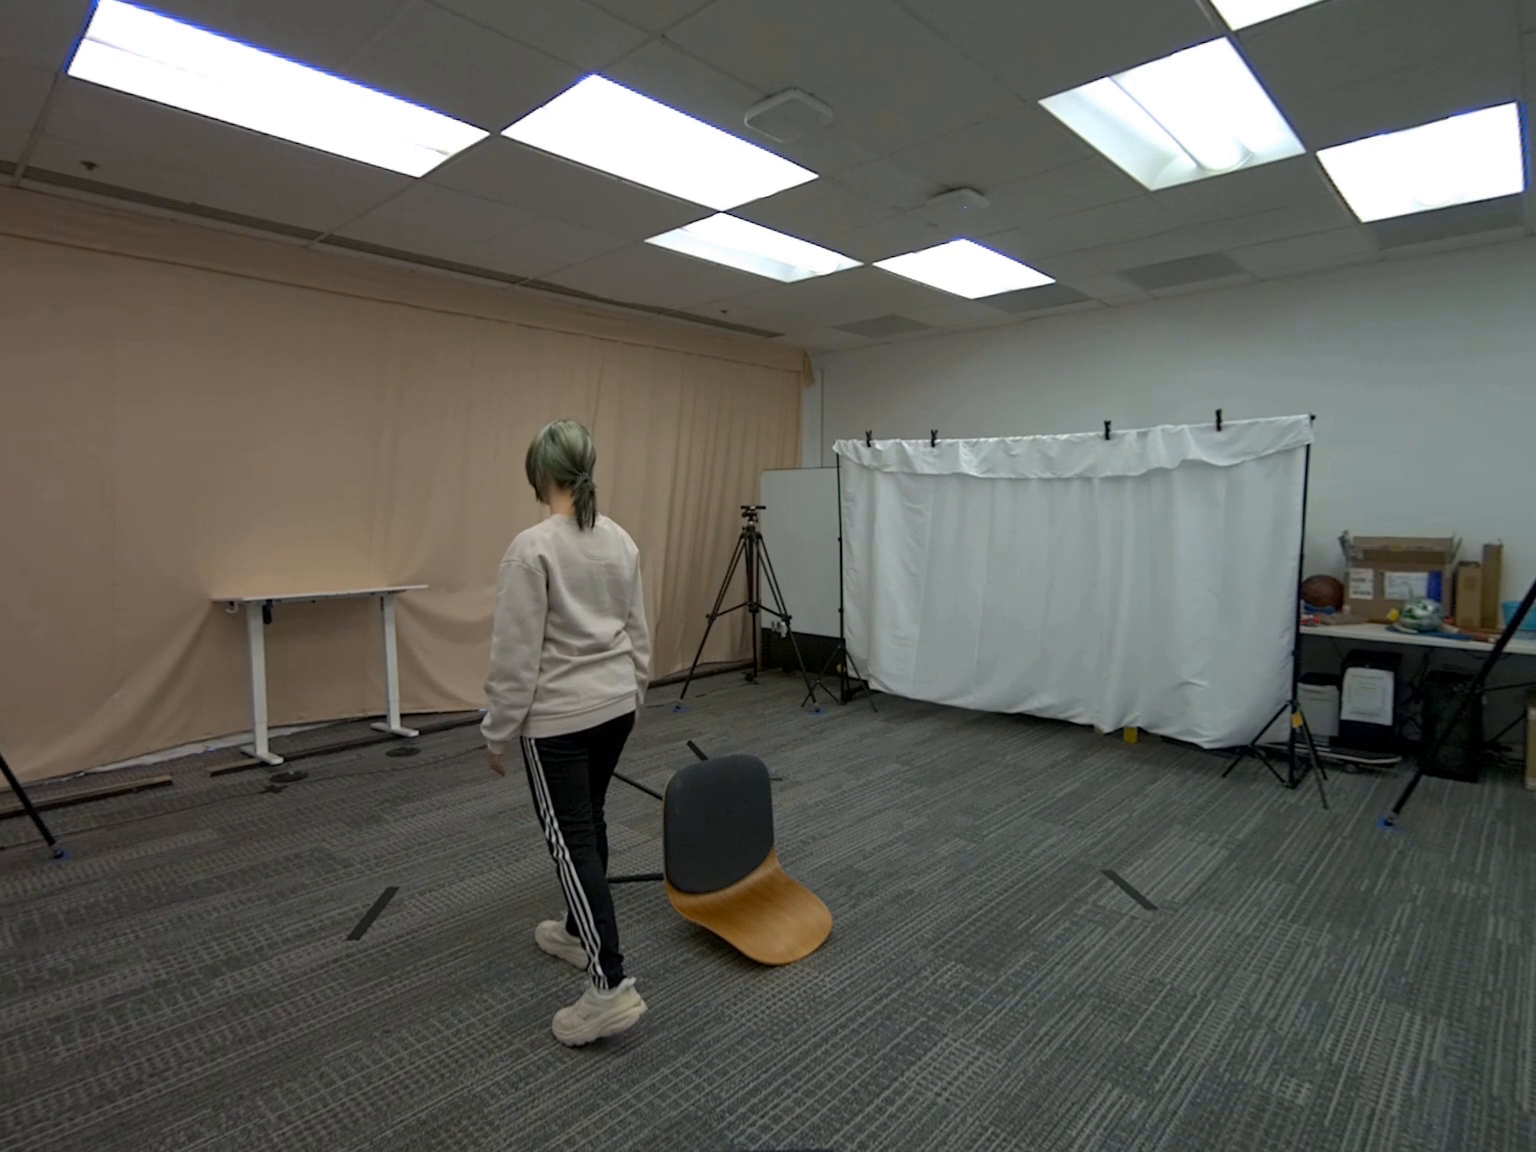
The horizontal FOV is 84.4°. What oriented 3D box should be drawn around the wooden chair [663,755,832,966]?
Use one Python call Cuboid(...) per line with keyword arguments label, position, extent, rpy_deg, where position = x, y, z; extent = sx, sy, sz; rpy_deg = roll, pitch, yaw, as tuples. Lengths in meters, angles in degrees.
Cuboid(label="wooden chair", position=(-0.188, 0.894, 2.907), extent=(0.464, 0.521, 0.907), rpy_deg=(-4, 7, -39))
